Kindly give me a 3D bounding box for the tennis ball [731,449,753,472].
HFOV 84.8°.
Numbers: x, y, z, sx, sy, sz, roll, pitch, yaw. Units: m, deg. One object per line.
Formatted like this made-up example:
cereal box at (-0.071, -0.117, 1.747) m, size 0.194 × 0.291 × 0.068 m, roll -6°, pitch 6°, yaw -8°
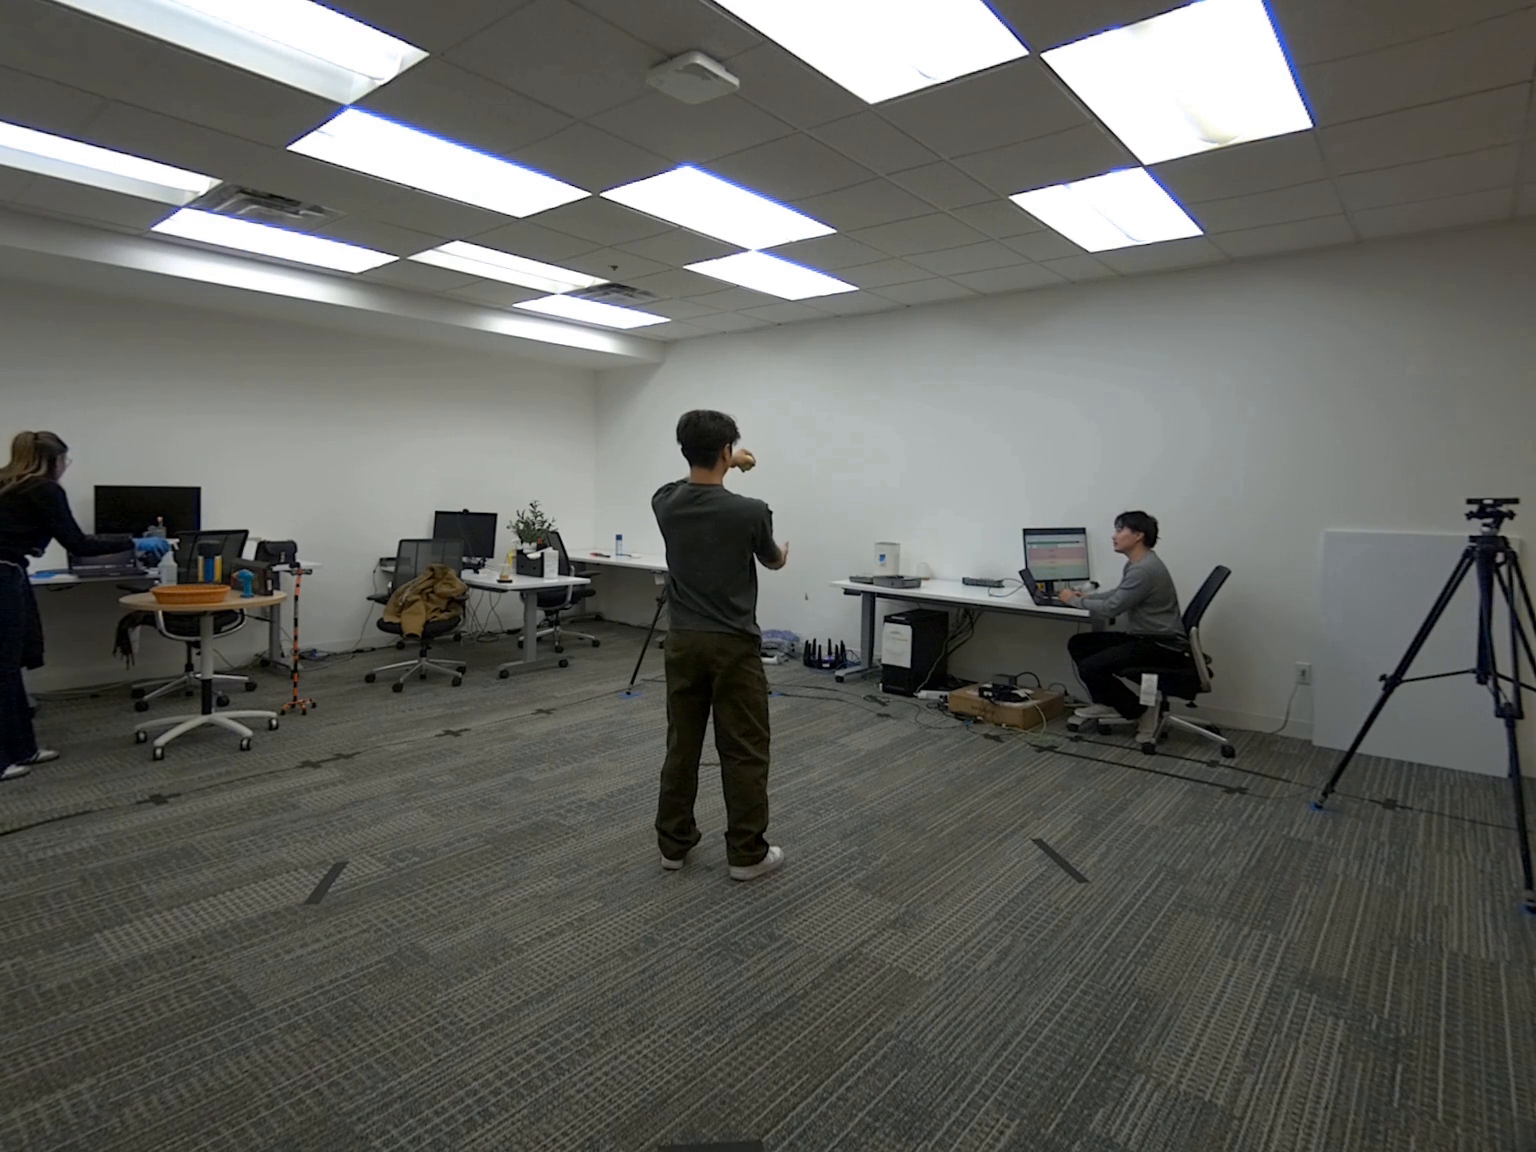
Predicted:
tennis ball at (-0.135, -0.497, 3.625) m, size 0.066 × 0.066 × 0.067 m, roll 1°, pitch 4°, yaw -2°
